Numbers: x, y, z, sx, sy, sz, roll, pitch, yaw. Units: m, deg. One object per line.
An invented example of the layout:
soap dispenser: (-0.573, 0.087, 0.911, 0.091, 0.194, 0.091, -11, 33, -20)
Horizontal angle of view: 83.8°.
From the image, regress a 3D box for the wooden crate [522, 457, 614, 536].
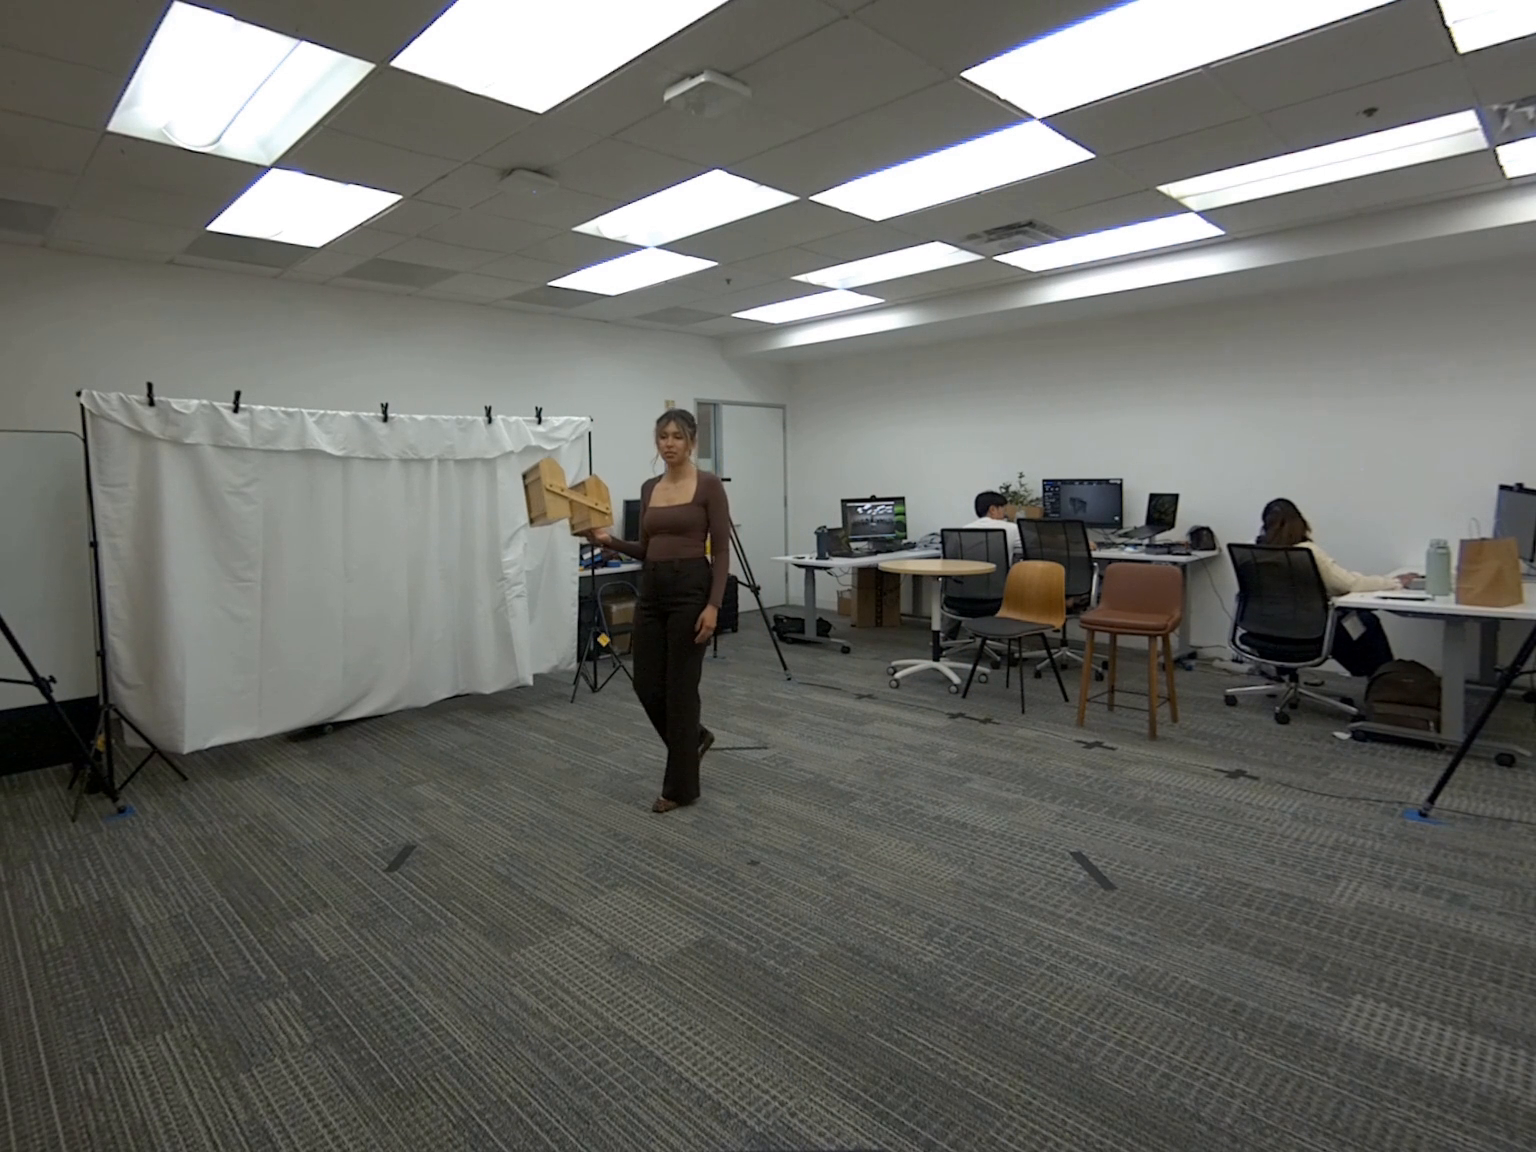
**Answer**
wooden crate: (-0.809, -0.326, 3.461, 0.268, 0.302, 0.331, -9, 0, -28)
